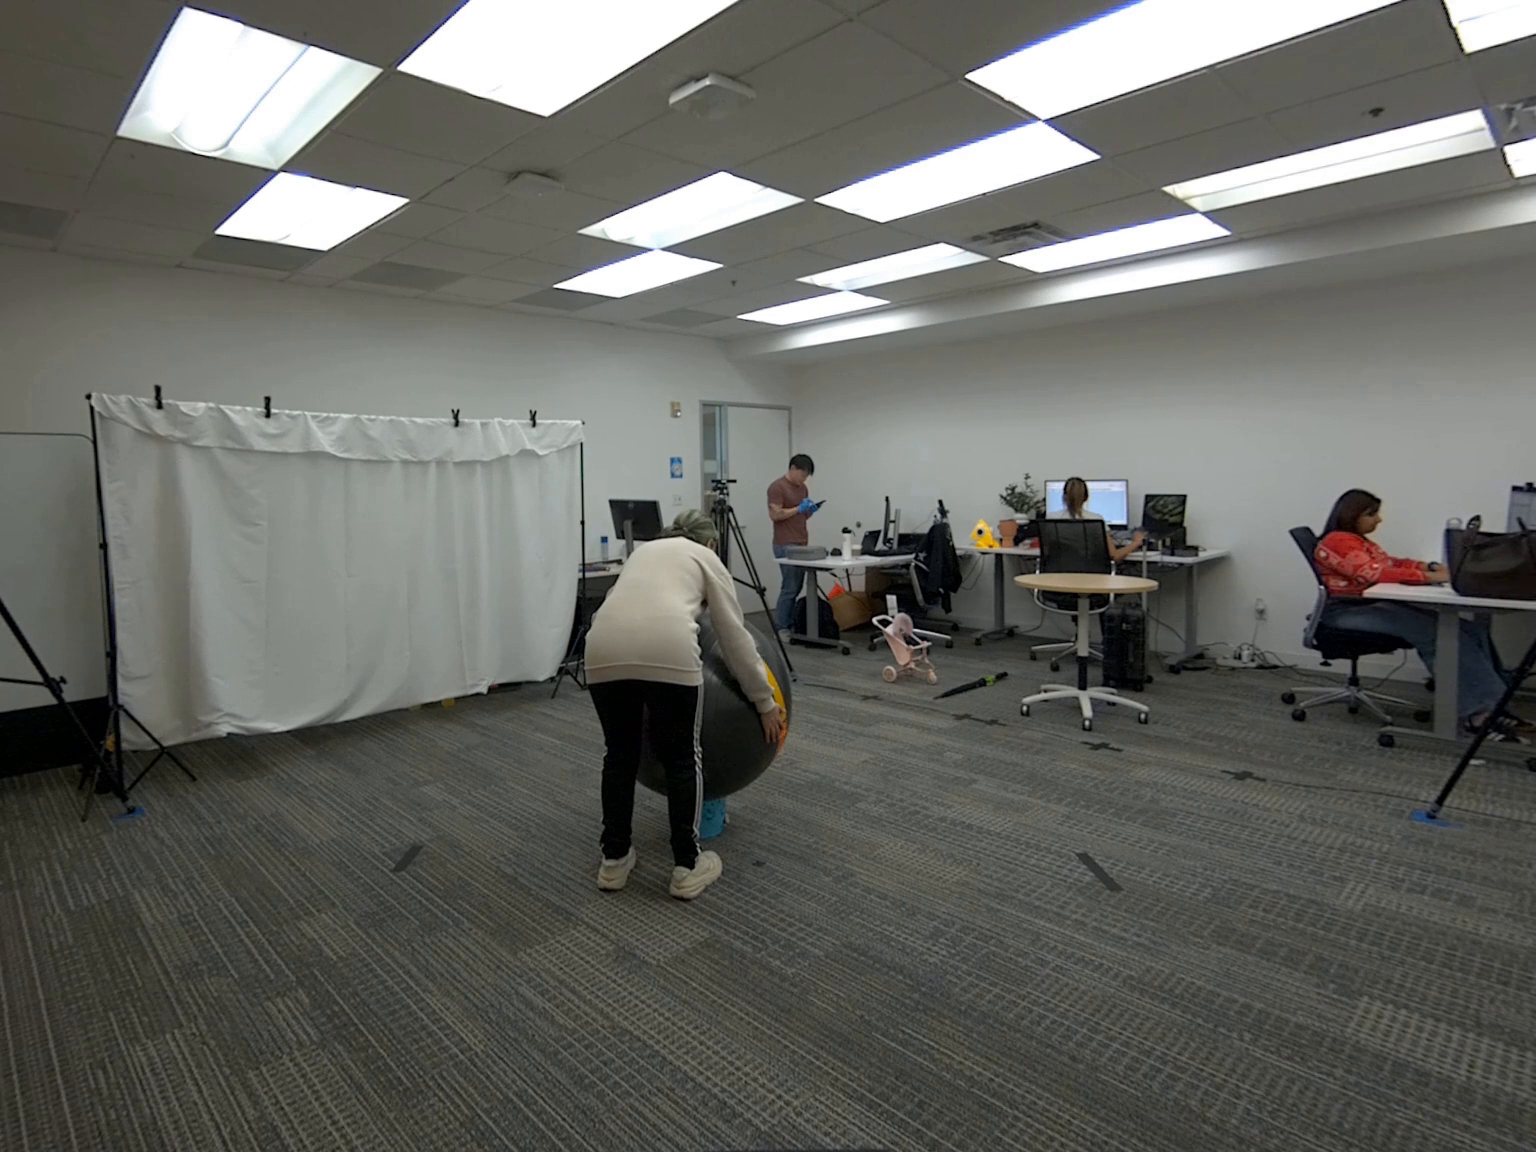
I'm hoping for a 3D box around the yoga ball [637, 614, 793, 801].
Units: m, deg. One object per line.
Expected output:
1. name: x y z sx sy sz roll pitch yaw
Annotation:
1. yoga ball: -0.286 0.507 3.406 0.757 0.755 0.762 -1 5 -2
